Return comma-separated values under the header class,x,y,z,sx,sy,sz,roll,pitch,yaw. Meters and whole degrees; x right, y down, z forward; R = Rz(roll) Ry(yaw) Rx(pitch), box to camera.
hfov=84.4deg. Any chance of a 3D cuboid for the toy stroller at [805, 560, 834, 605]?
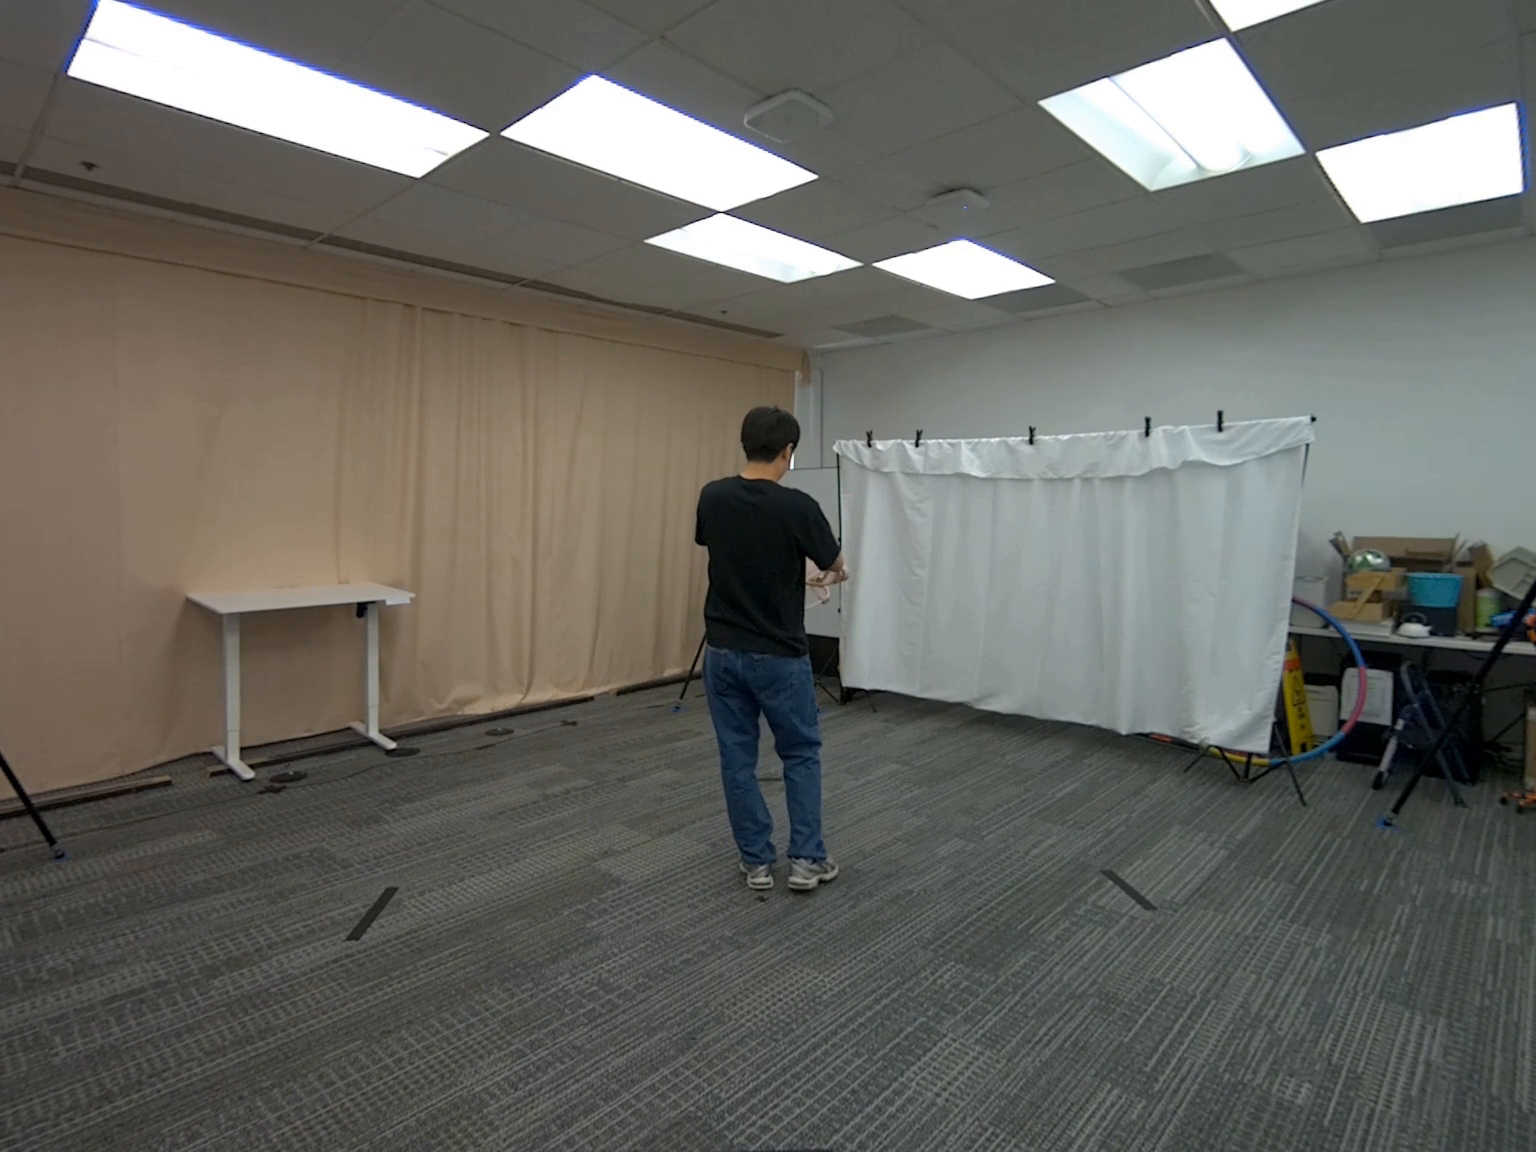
class,x,y,z,sx,sy,sz,roll,pitch,yaw
toy stroller,0.117,-0.002,3.483,0.276,0.347,0.536,-30,-16,-39
